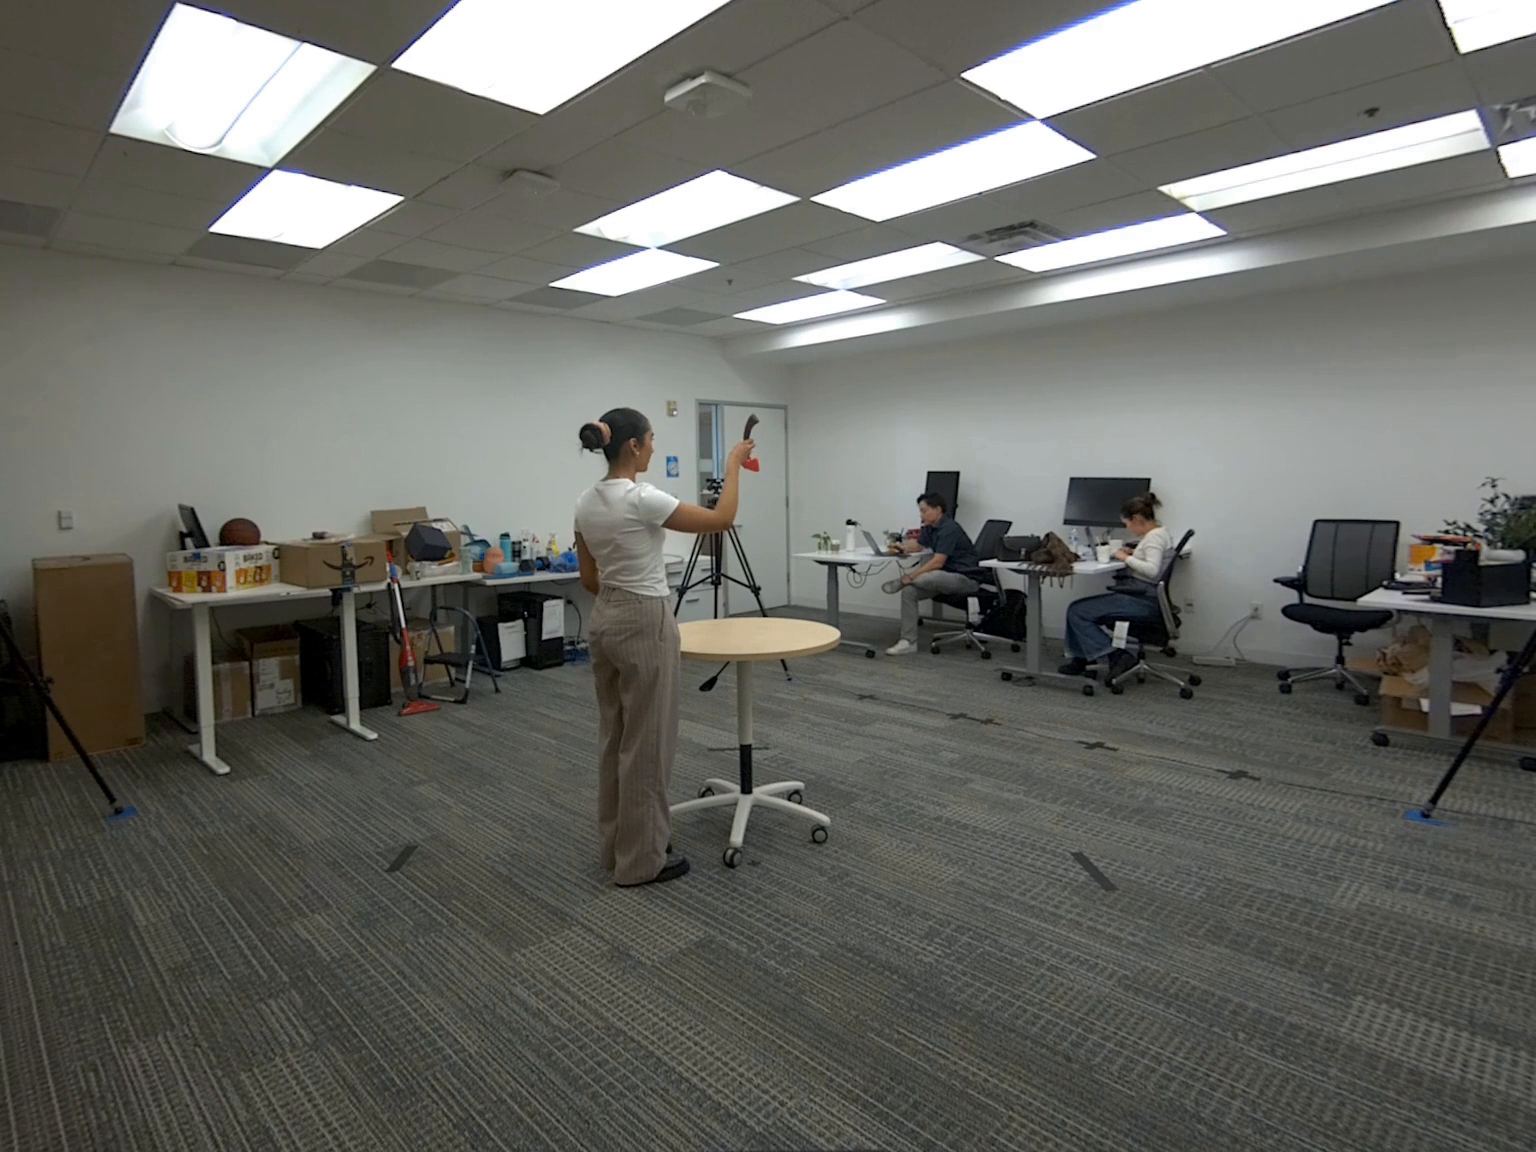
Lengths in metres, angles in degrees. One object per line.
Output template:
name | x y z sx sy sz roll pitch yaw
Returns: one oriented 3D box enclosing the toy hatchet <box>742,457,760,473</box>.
toy hatchet | -0.059 -0.472 3.120 0.029 0.133 0.267 -32 -14 -24
